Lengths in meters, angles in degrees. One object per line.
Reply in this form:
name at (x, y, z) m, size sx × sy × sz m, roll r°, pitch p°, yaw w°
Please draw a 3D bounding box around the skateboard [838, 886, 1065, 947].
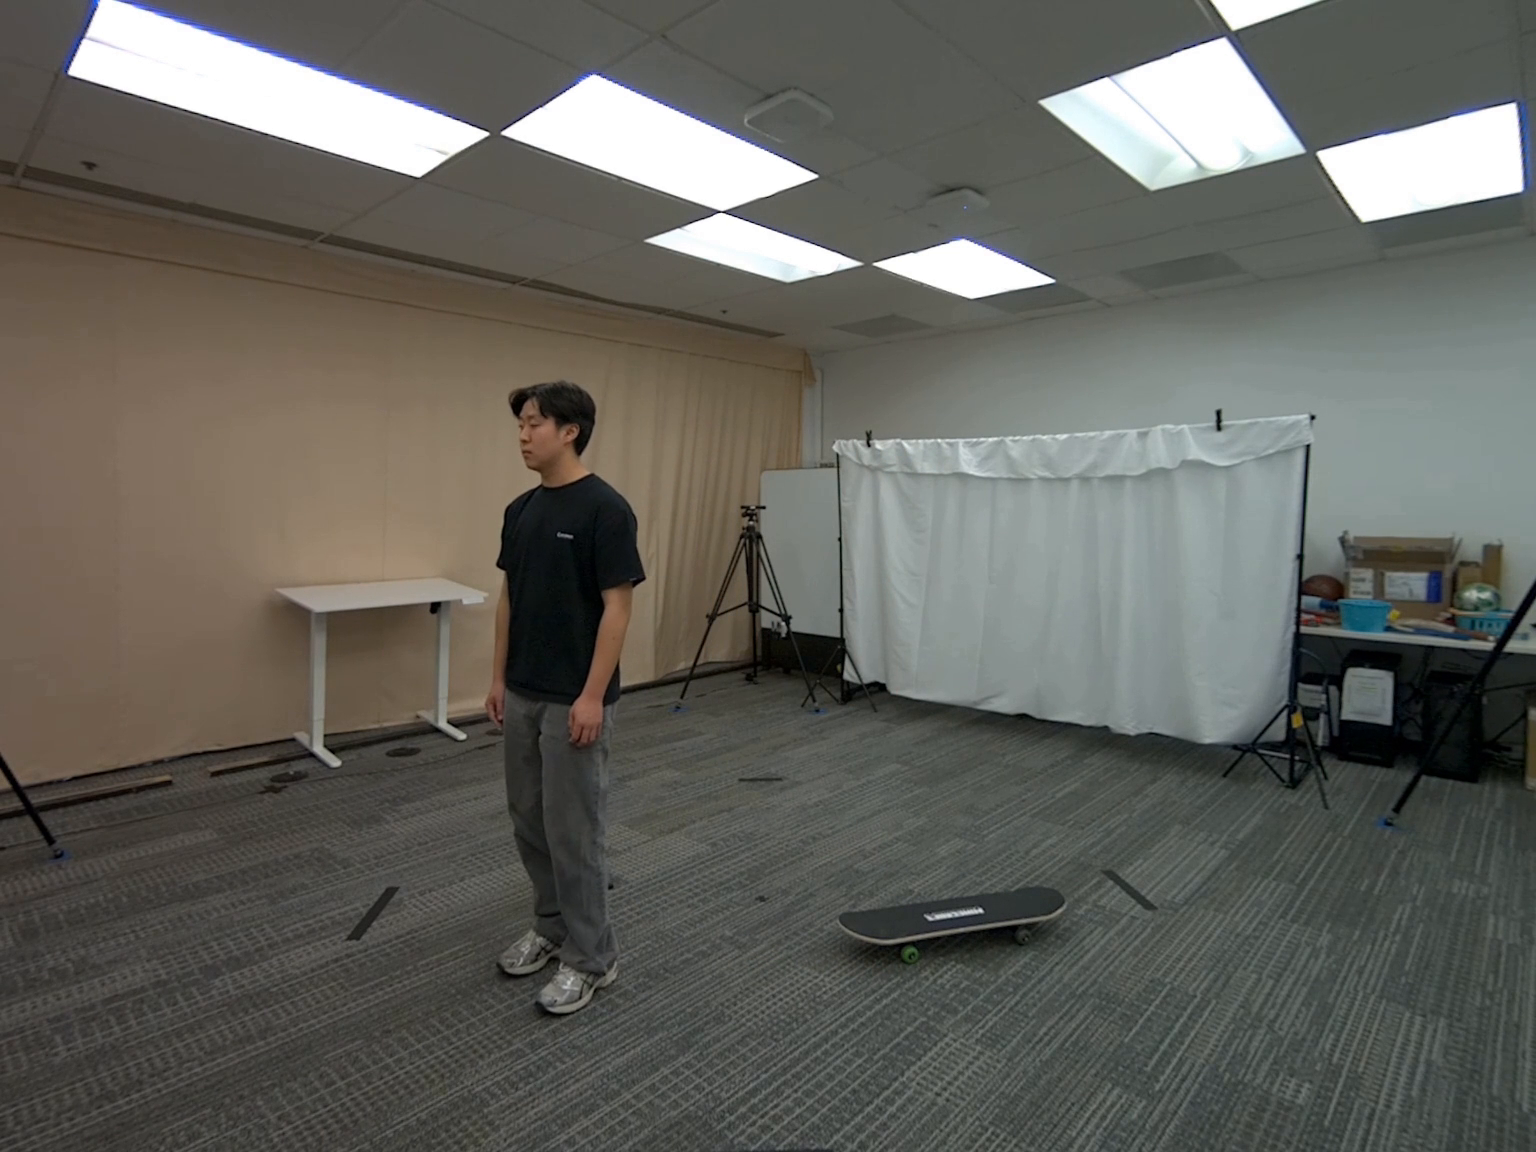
skateboard at (0.599, 1.110, 2.681) m, size 0.773 × 0.110 × 0.197 m, roll -1°, pitch 4°, yaw -16°
